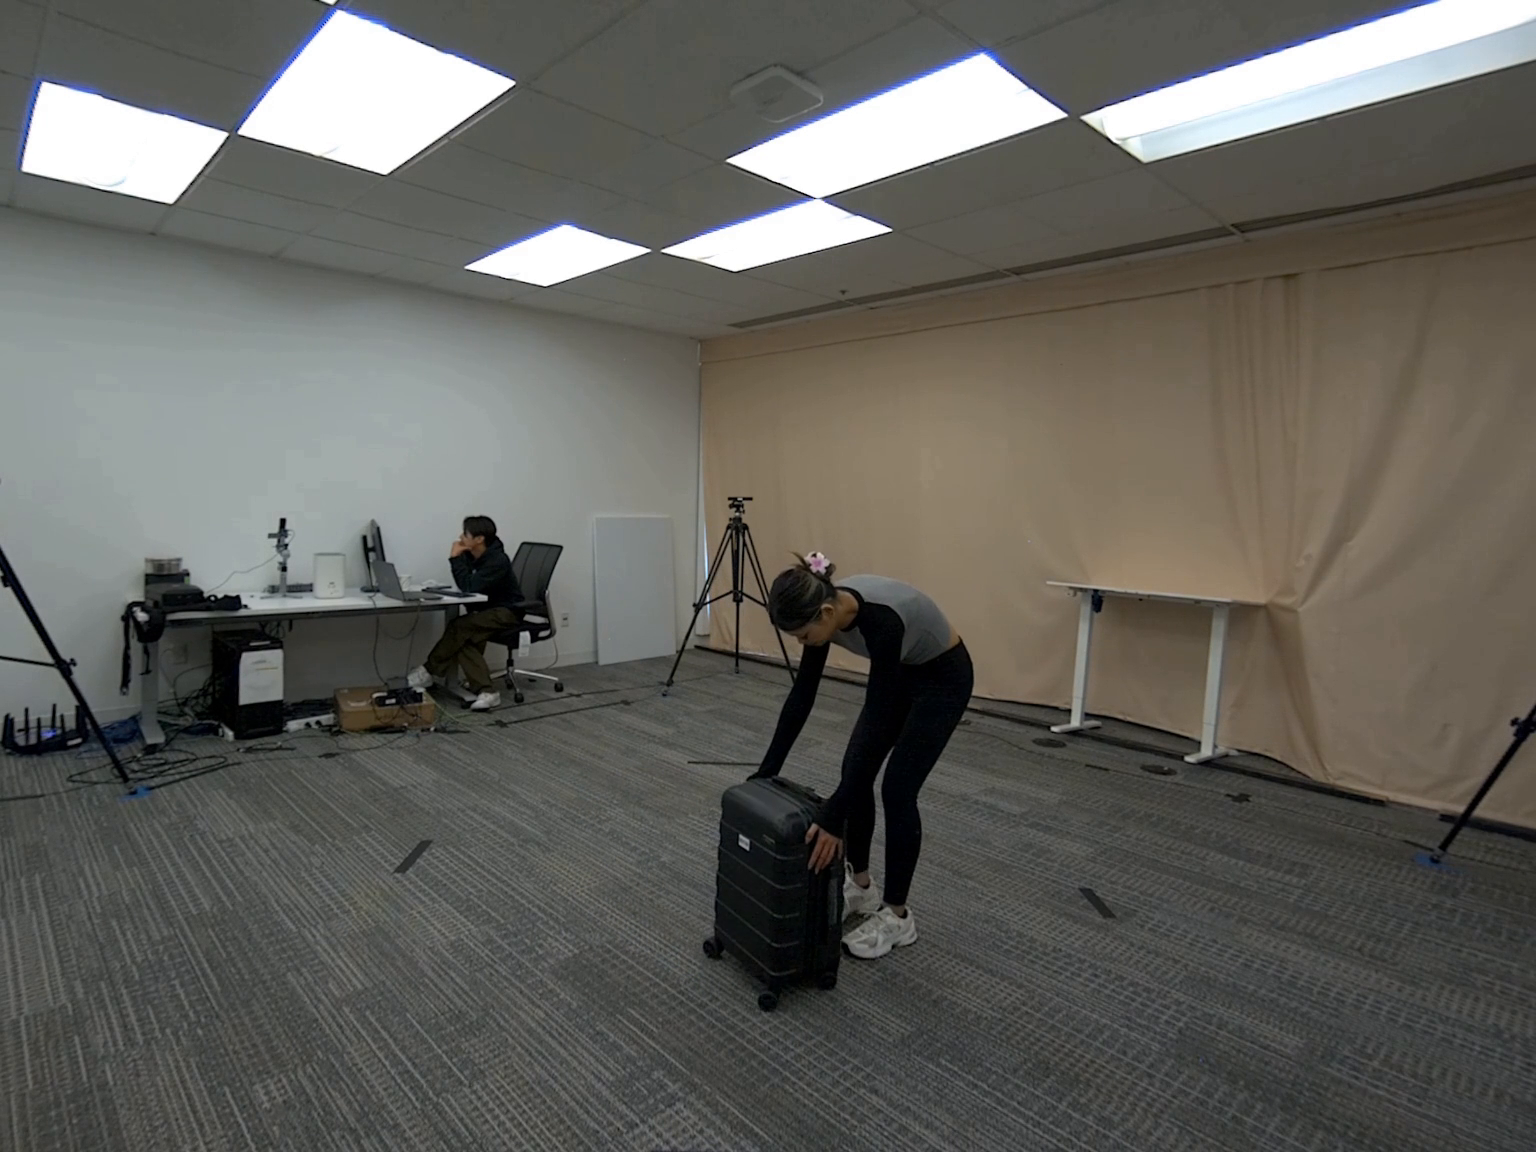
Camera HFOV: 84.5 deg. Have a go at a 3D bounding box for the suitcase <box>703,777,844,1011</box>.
[{"bbox_3d":[0.021,0.898,2.458,0.243,0.548,0.385,0,5,-35],"label":"suitcase"}]
